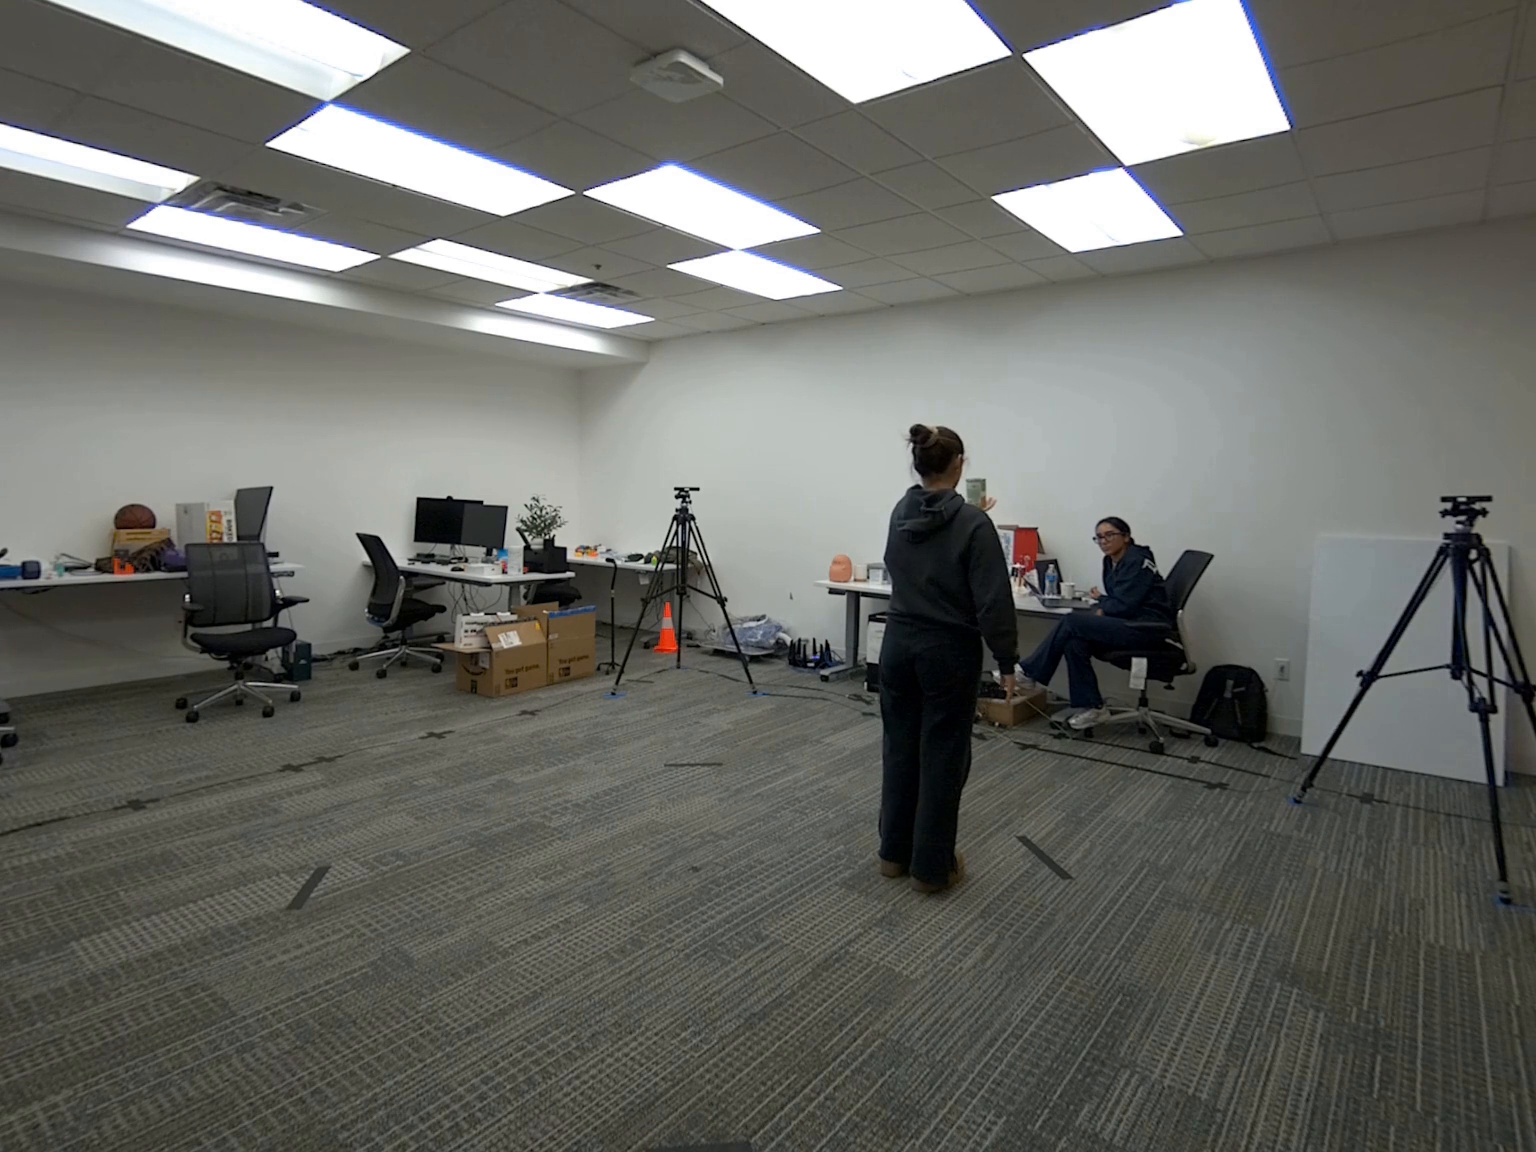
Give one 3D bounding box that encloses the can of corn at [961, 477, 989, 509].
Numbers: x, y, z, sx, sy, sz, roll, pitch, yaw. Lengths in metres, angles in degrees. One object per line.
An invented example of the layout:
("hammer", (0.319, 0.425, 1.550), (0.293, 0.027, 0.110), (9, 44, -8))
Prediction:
("can of corn", (0.809, -0.326, 3.296), (0.074, 0.110, 0.075), (-7, 8, -1))
